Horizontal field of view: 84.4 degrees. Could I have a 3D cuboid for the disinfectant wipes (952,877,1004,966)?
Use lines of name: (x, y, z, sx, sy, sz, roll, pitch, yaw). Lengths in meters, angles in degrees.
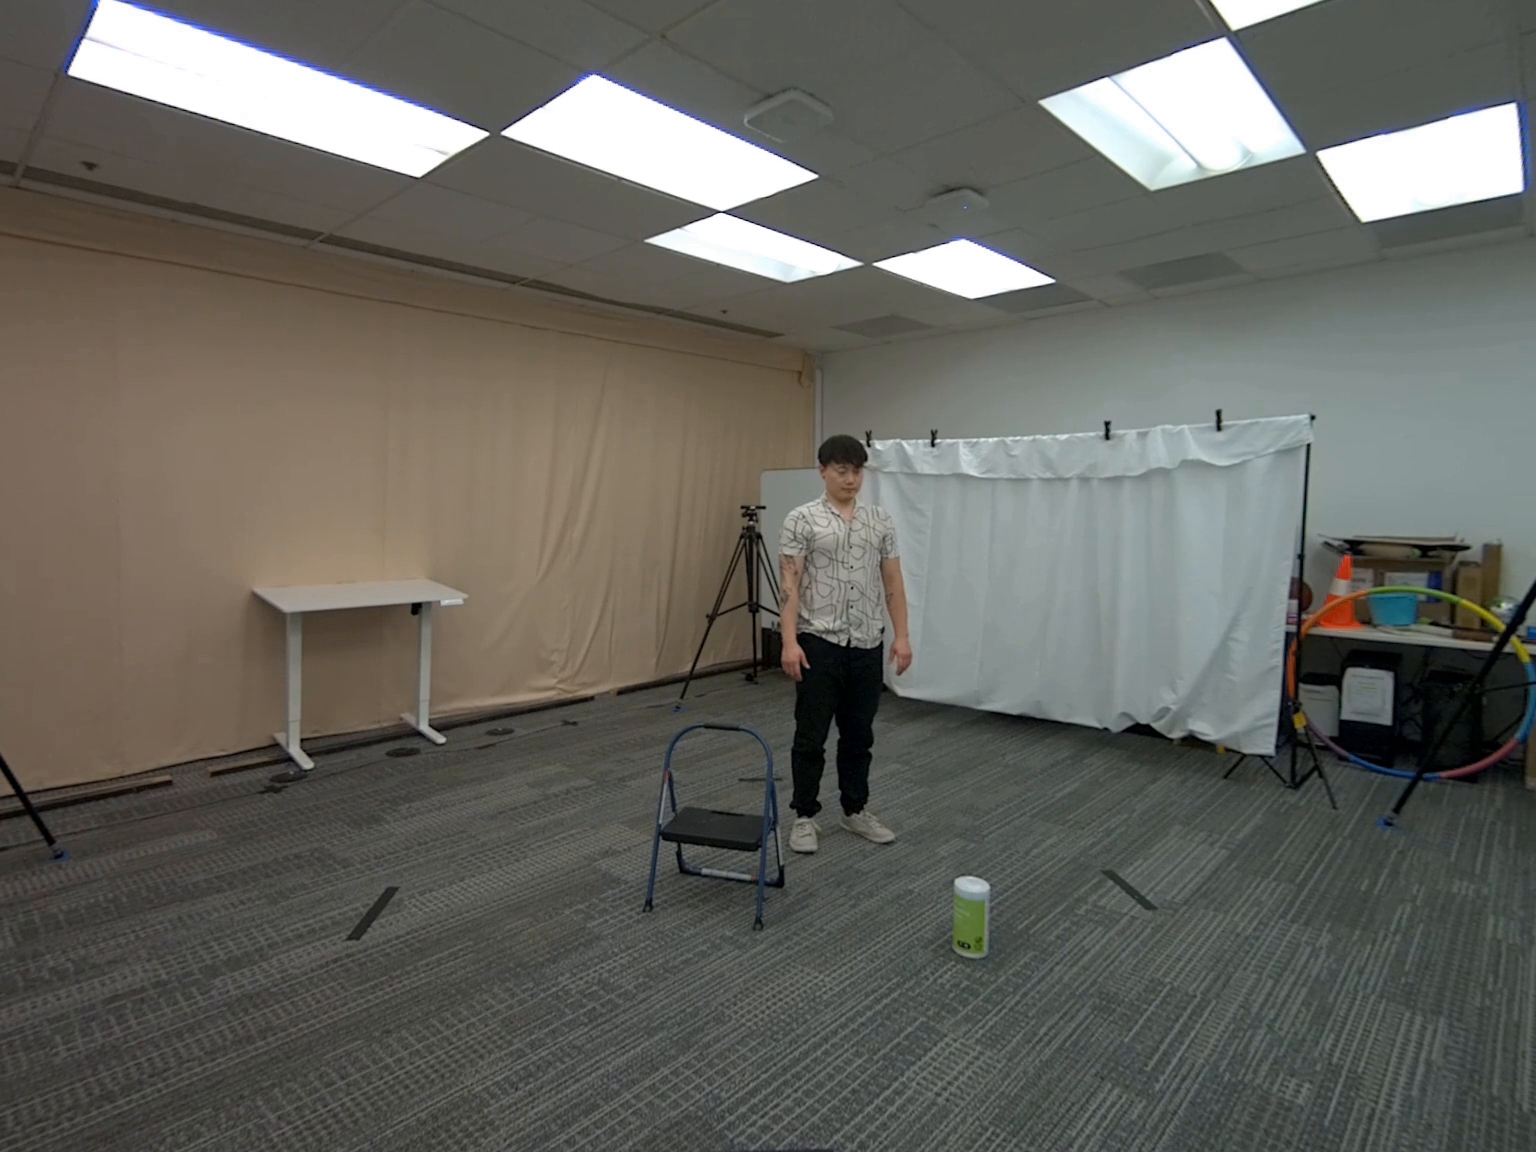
disinfectant wipes: (0.647, 1.065, 2.620, 0.118, 0.217, 0.118, 1, 3, -2)
